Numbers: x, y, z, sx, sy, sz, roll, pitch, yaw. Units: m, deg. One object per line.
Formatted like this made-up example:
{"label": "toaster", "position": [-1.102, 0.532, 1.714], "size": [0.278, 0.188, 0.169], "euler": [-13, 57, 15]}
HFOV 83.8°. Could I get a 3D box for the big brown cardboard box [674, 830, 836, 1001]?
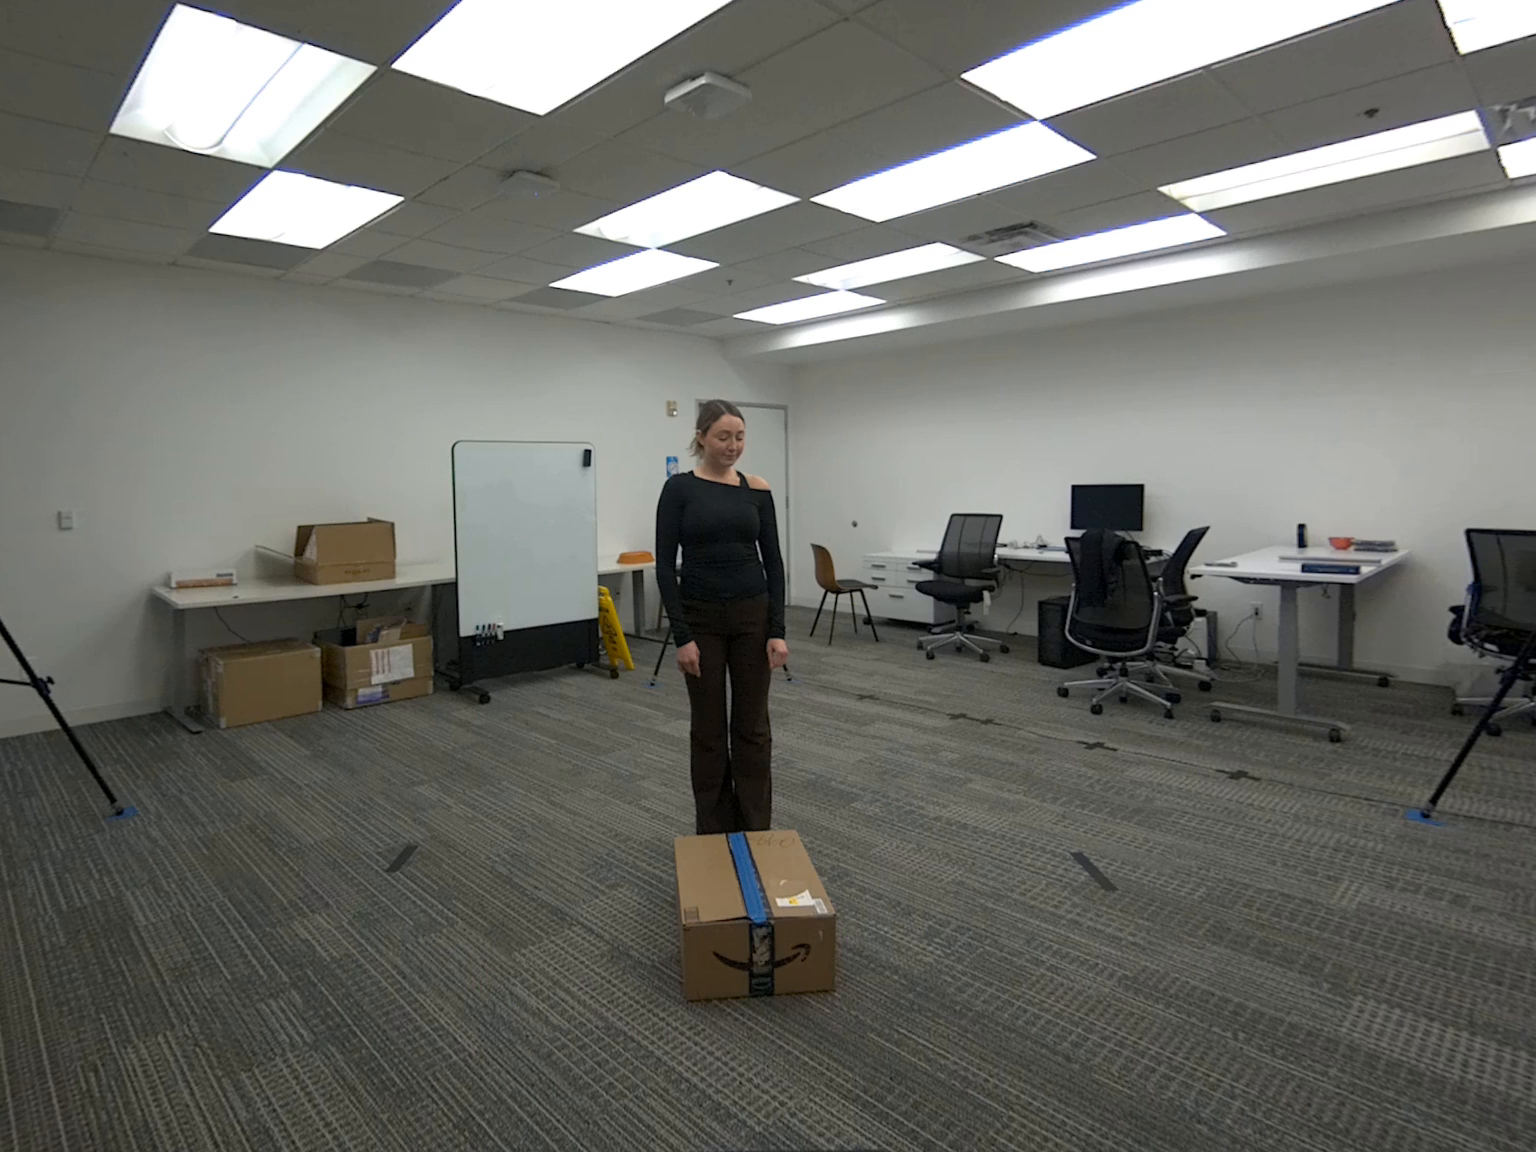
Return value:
{"label": "big brown cardboard box", "position": [-0.063, 0.997, 2.570], "size": [0.415, 0.232, 0.595], "euler": [-2, 5, -8]}
